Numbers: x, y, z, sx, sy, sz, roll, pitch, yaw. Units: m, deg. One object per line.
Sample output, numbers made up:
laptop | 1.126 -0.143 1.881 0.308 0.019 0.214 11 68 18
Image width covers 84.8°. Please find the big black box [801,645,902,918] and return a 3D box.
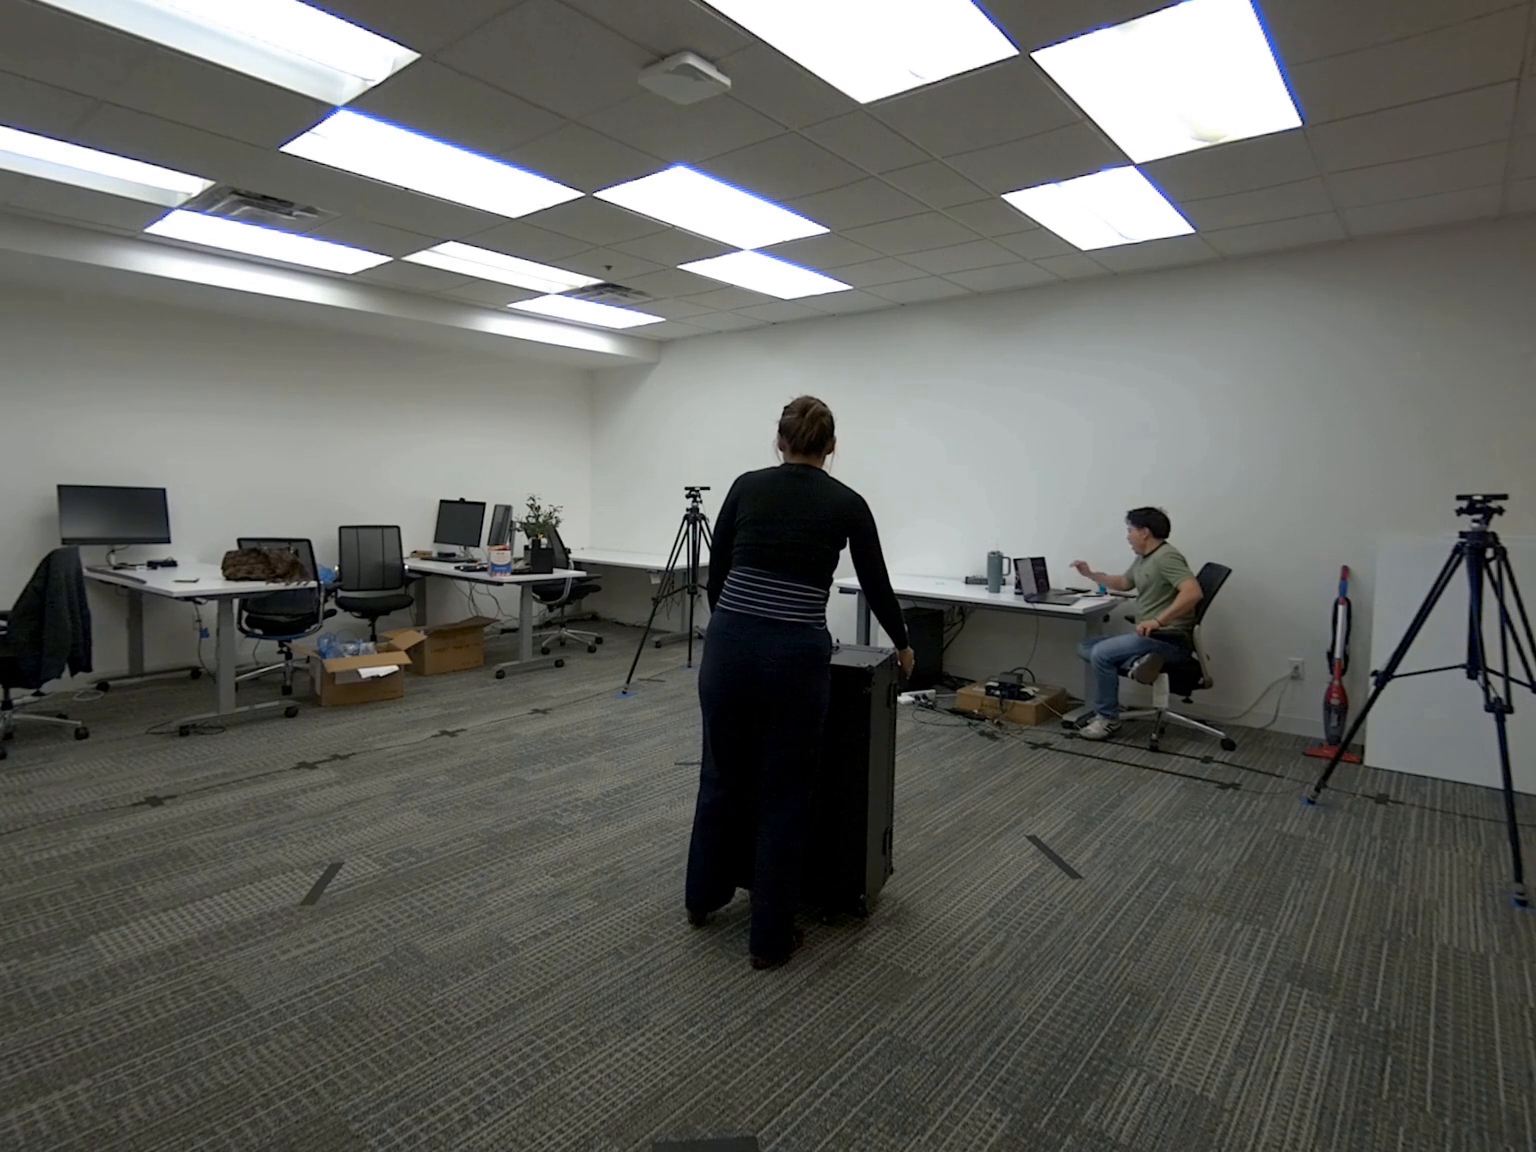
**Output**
big black box | 0.149 0.673 2.854 0.535 0.858 0.387 3 5 26
